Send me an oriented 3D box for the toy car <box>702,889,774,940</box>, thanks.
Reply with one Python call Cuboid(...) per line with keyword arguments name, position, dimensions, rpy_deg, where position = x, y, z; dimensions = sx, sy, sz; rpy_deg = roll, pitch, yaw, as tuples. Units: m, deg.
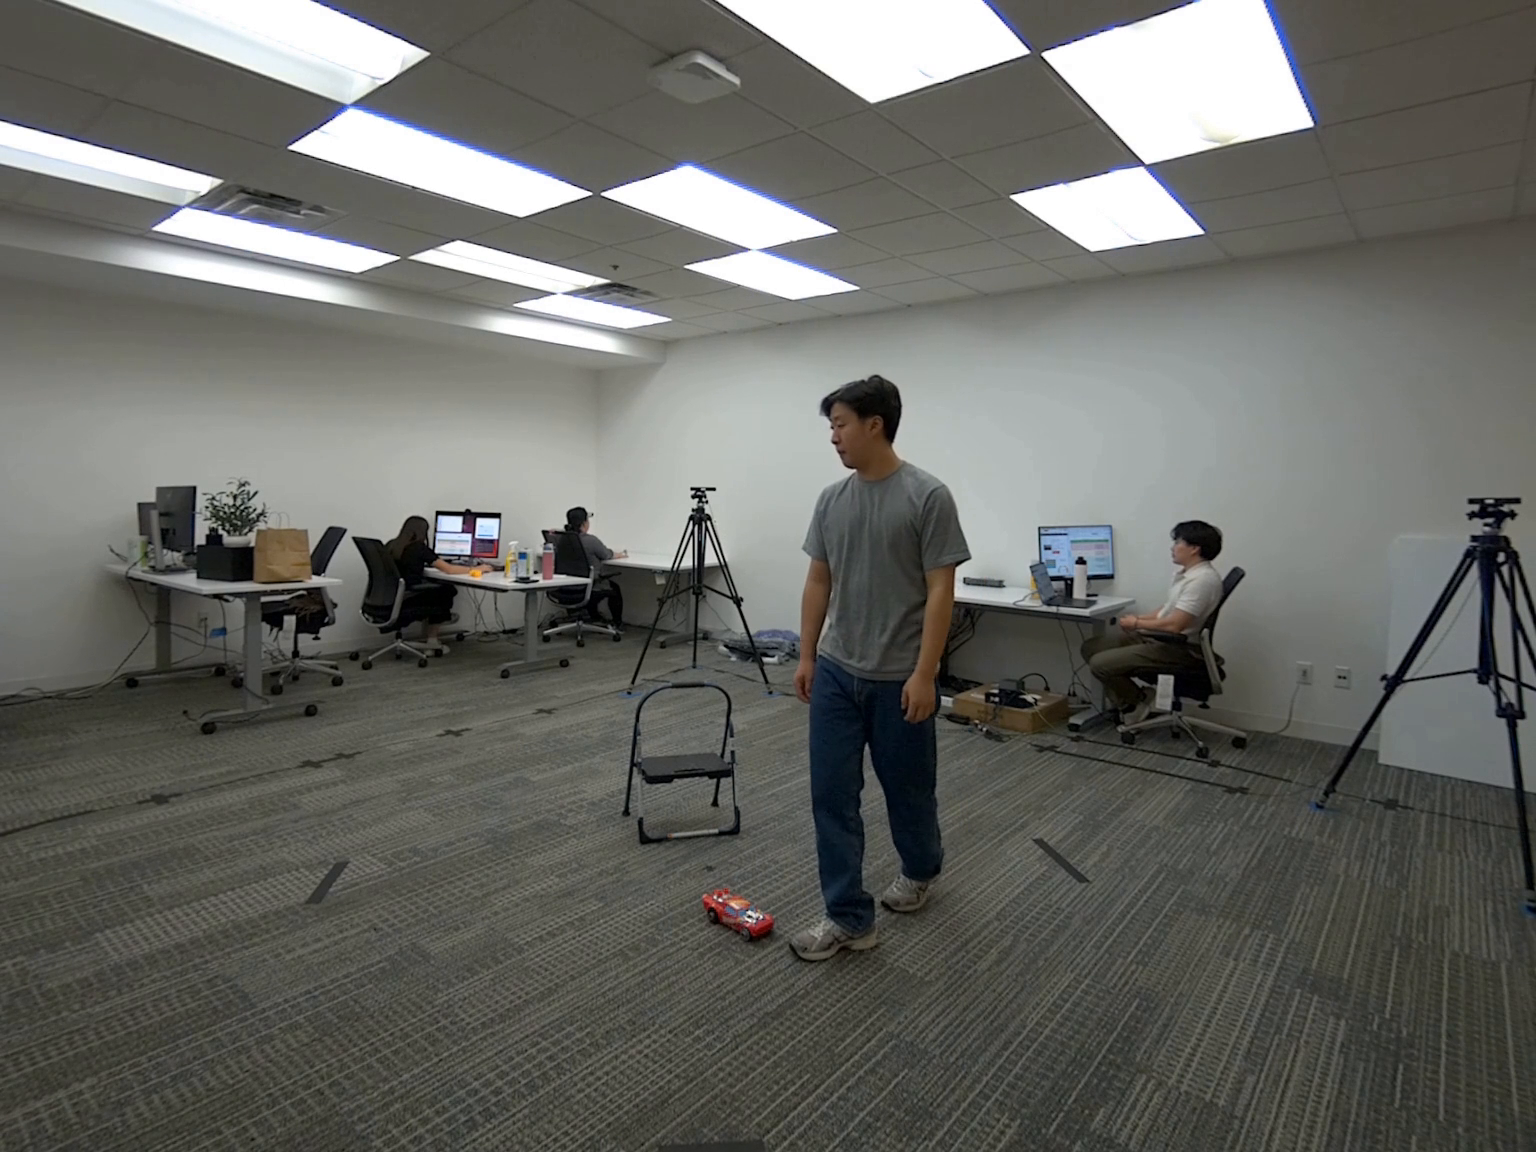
Cuboid(name="toy car", position=(-0.108, 1.076, 2.709), dimensions=(0.126, 0.082, 0.265), rpy_deg=(-4, 18, -45))
